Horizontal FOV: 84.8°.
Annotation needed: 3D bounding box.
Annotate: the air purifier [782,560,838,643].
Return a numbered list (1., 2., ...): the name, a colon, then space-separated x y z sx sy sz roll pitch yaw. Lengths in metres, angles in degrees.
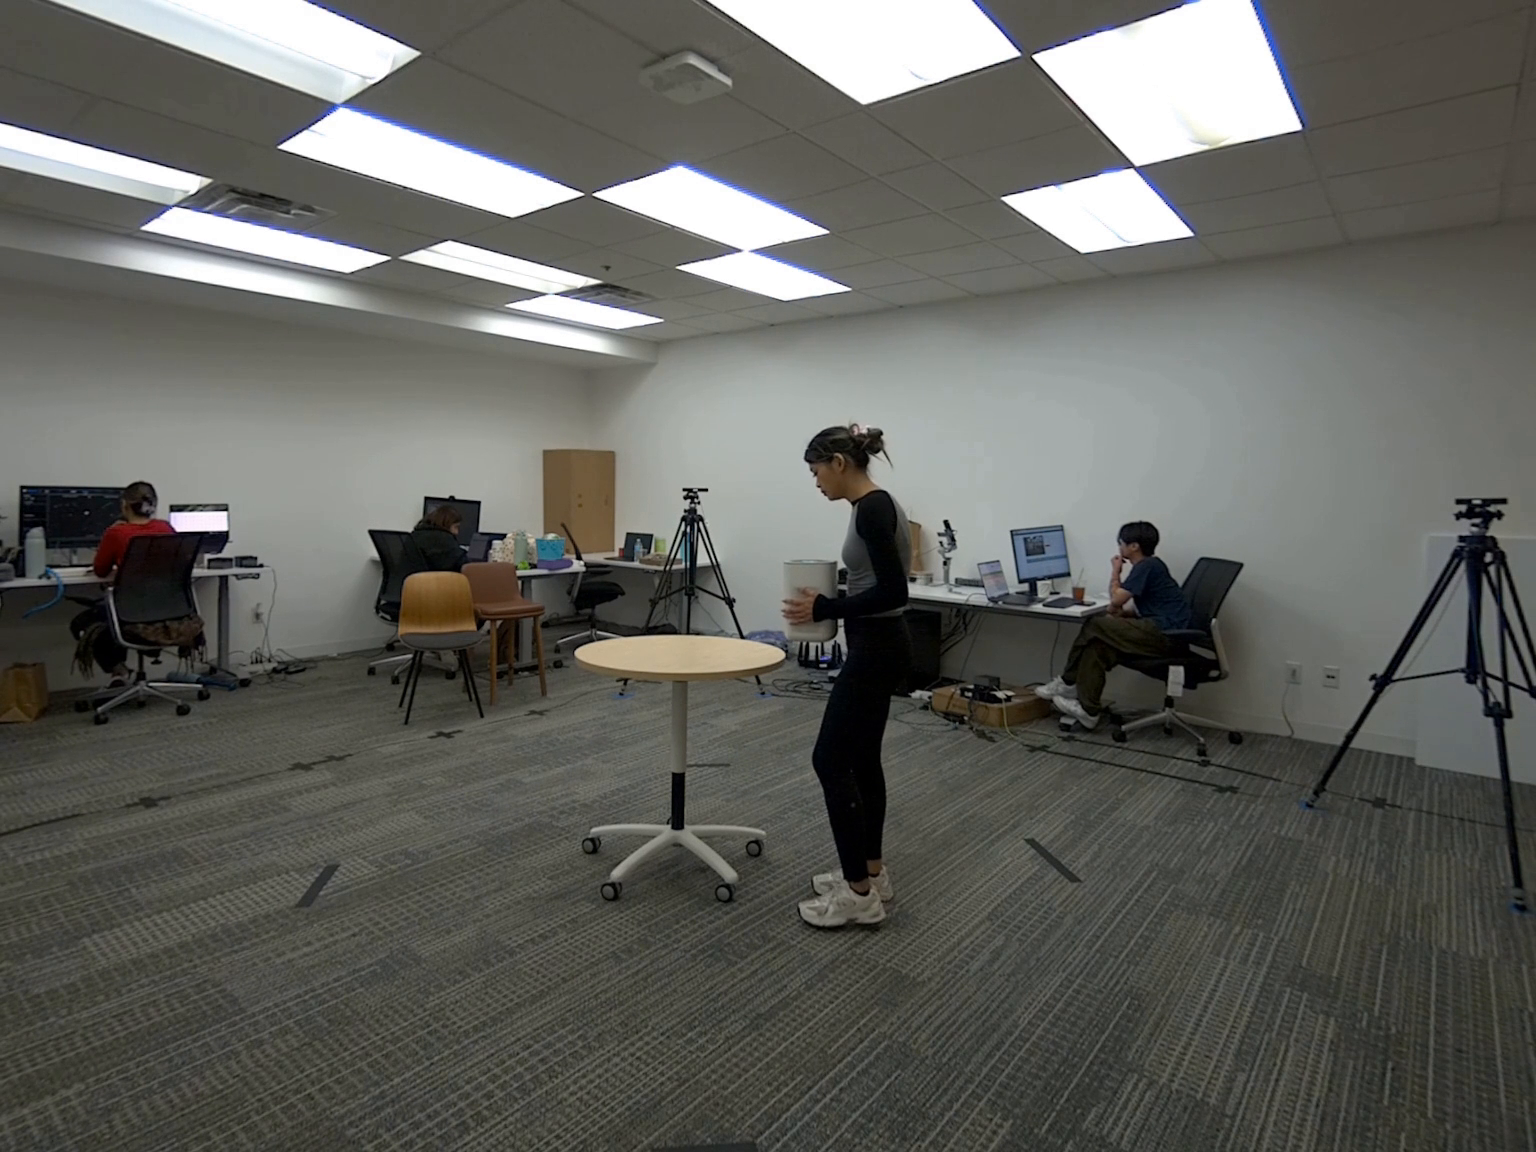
1. air purifier: 0.141 0.081 2.855 0.174 0.265 0.168 -1 0 15
